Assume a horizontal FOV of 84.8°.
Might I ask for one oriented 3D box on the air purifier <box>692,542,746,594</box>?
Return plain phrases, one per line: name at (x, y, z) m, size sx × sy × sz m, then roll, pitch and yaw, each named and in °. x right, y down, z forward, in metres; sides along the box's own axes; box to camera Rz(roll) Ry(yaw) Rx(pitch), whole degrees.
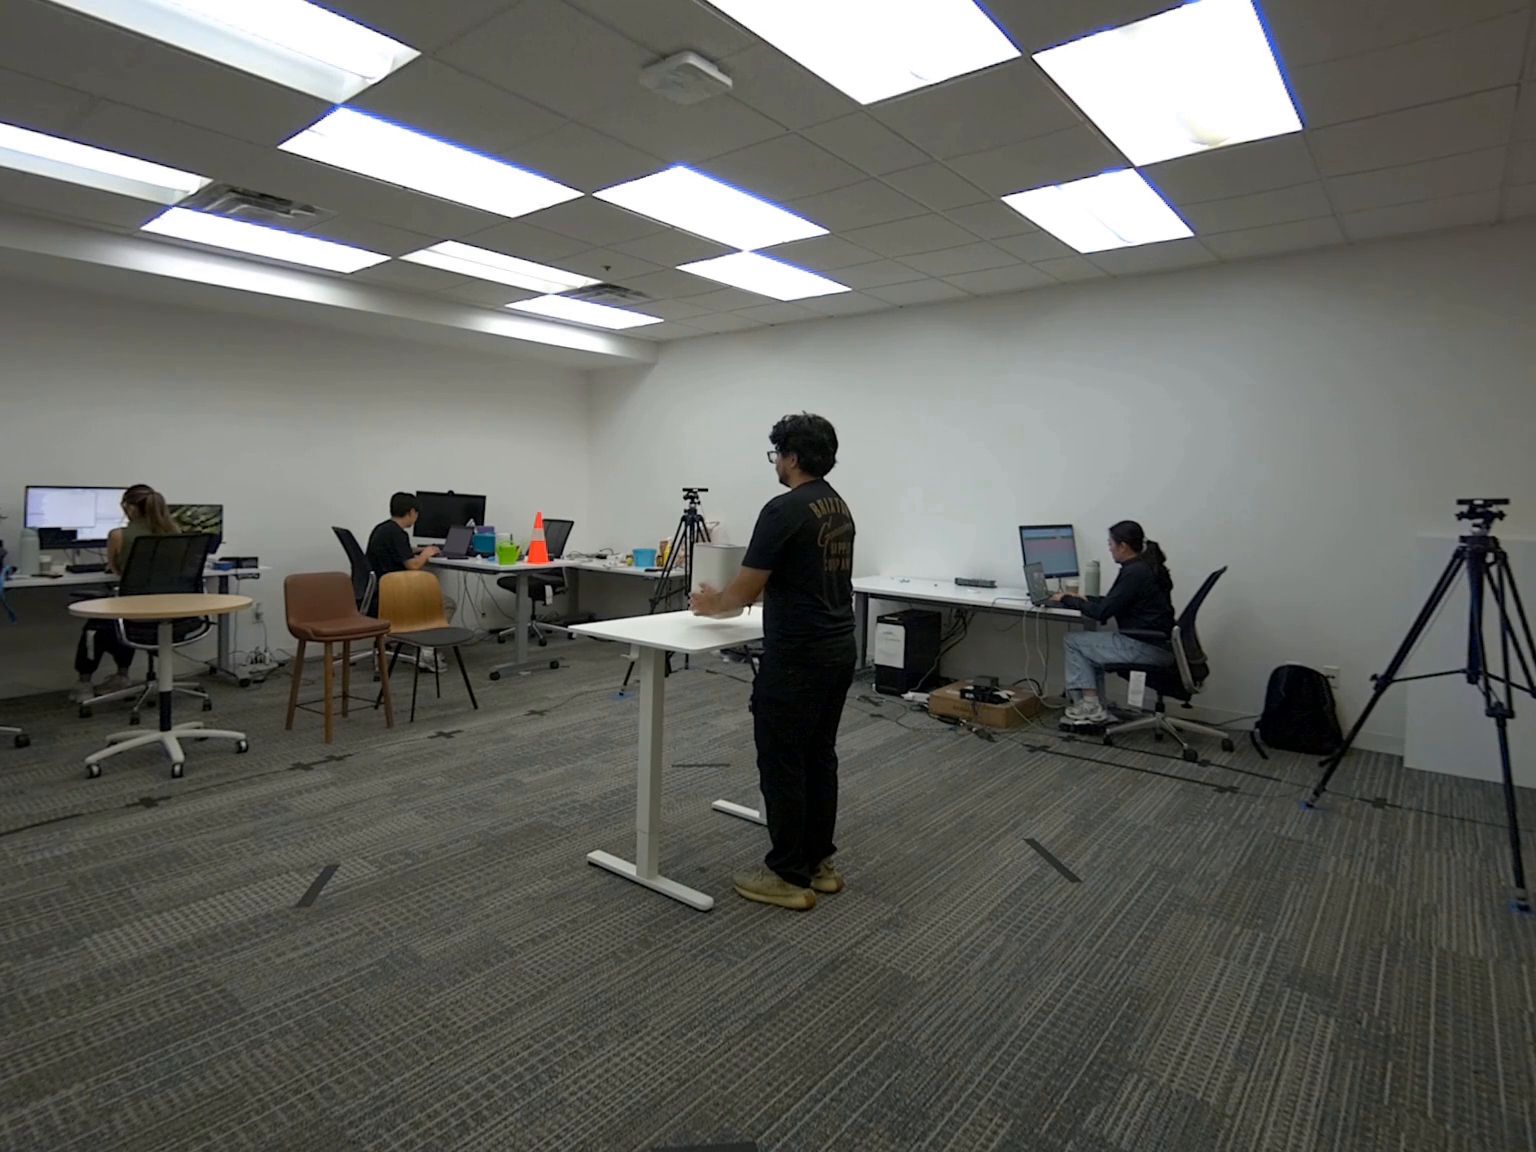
air purifier at (-0.196, 0.010, 3.144) m, size 0.177 × 0.264 × 0.166 m, roll 6°, pitch 5°, yaw 34°
